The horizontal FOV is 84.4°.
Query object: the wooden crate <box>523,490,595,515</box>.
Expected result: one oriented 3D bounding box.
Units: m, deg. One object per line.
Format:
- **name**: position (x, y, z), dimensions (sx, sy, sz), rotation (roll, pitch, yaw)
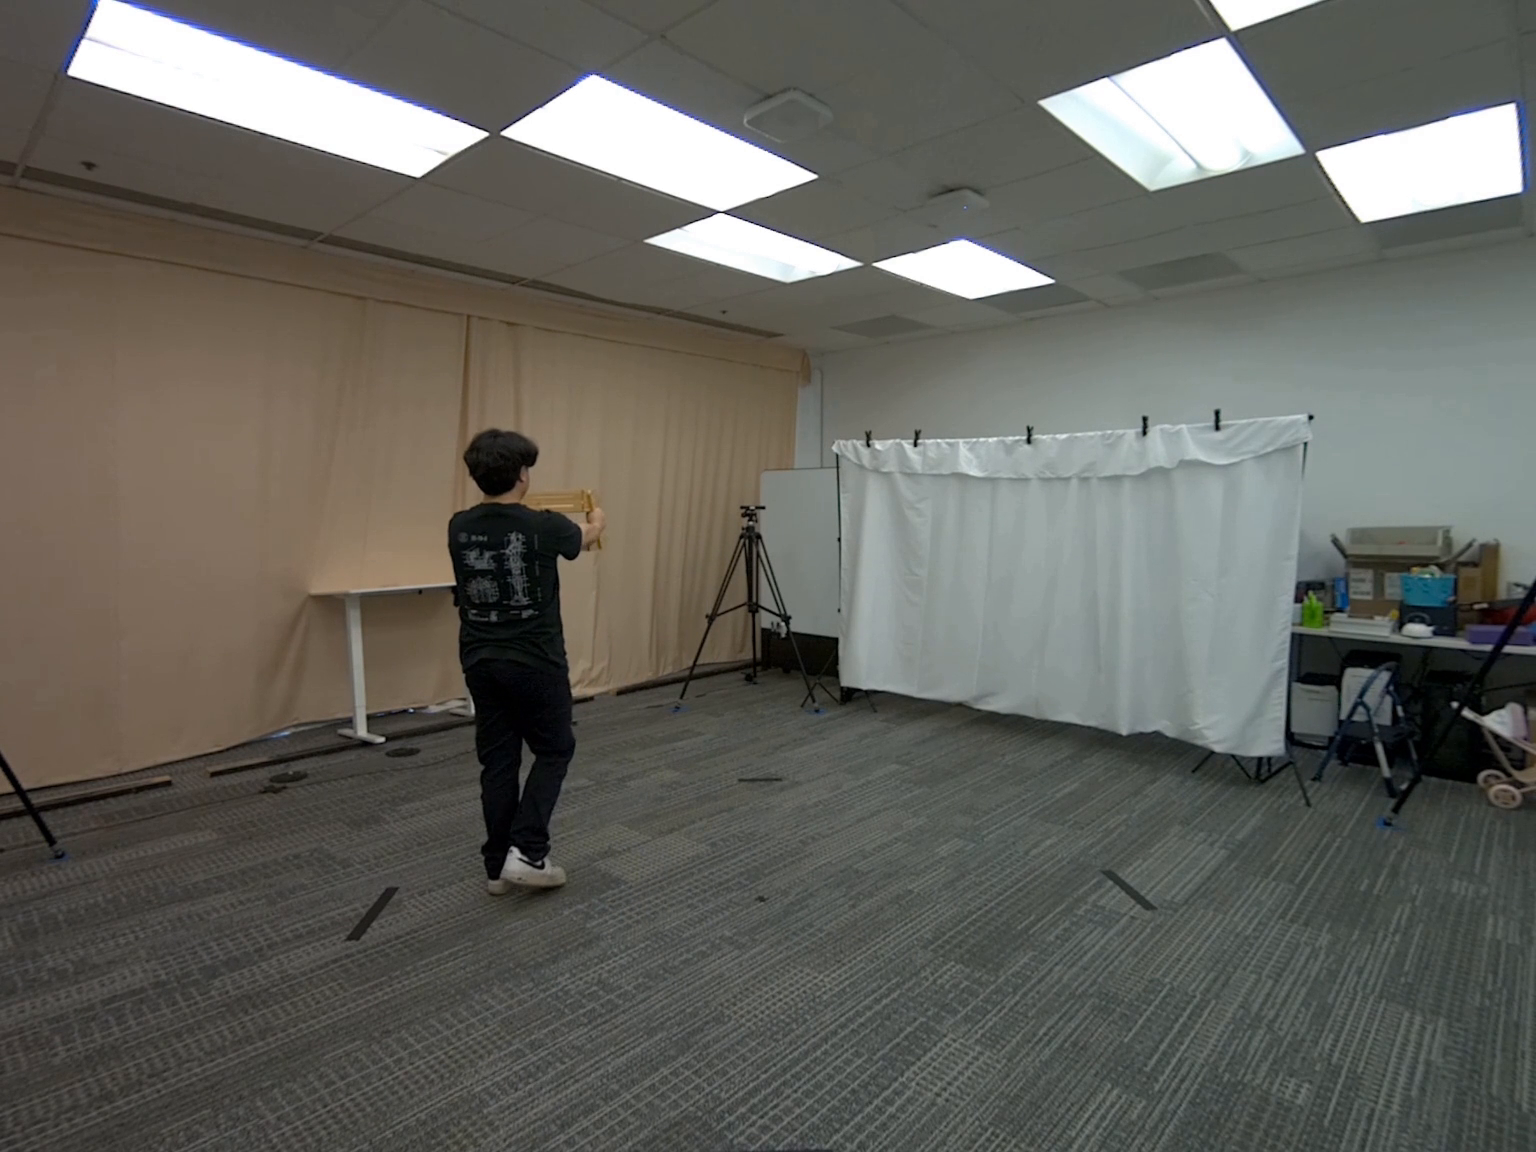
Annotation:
- **wooden crate**: position (-0.892, -0.248, 3.641), dimensions (0.327, 0.272, 0.301), rotation (-1, 5, 6)
